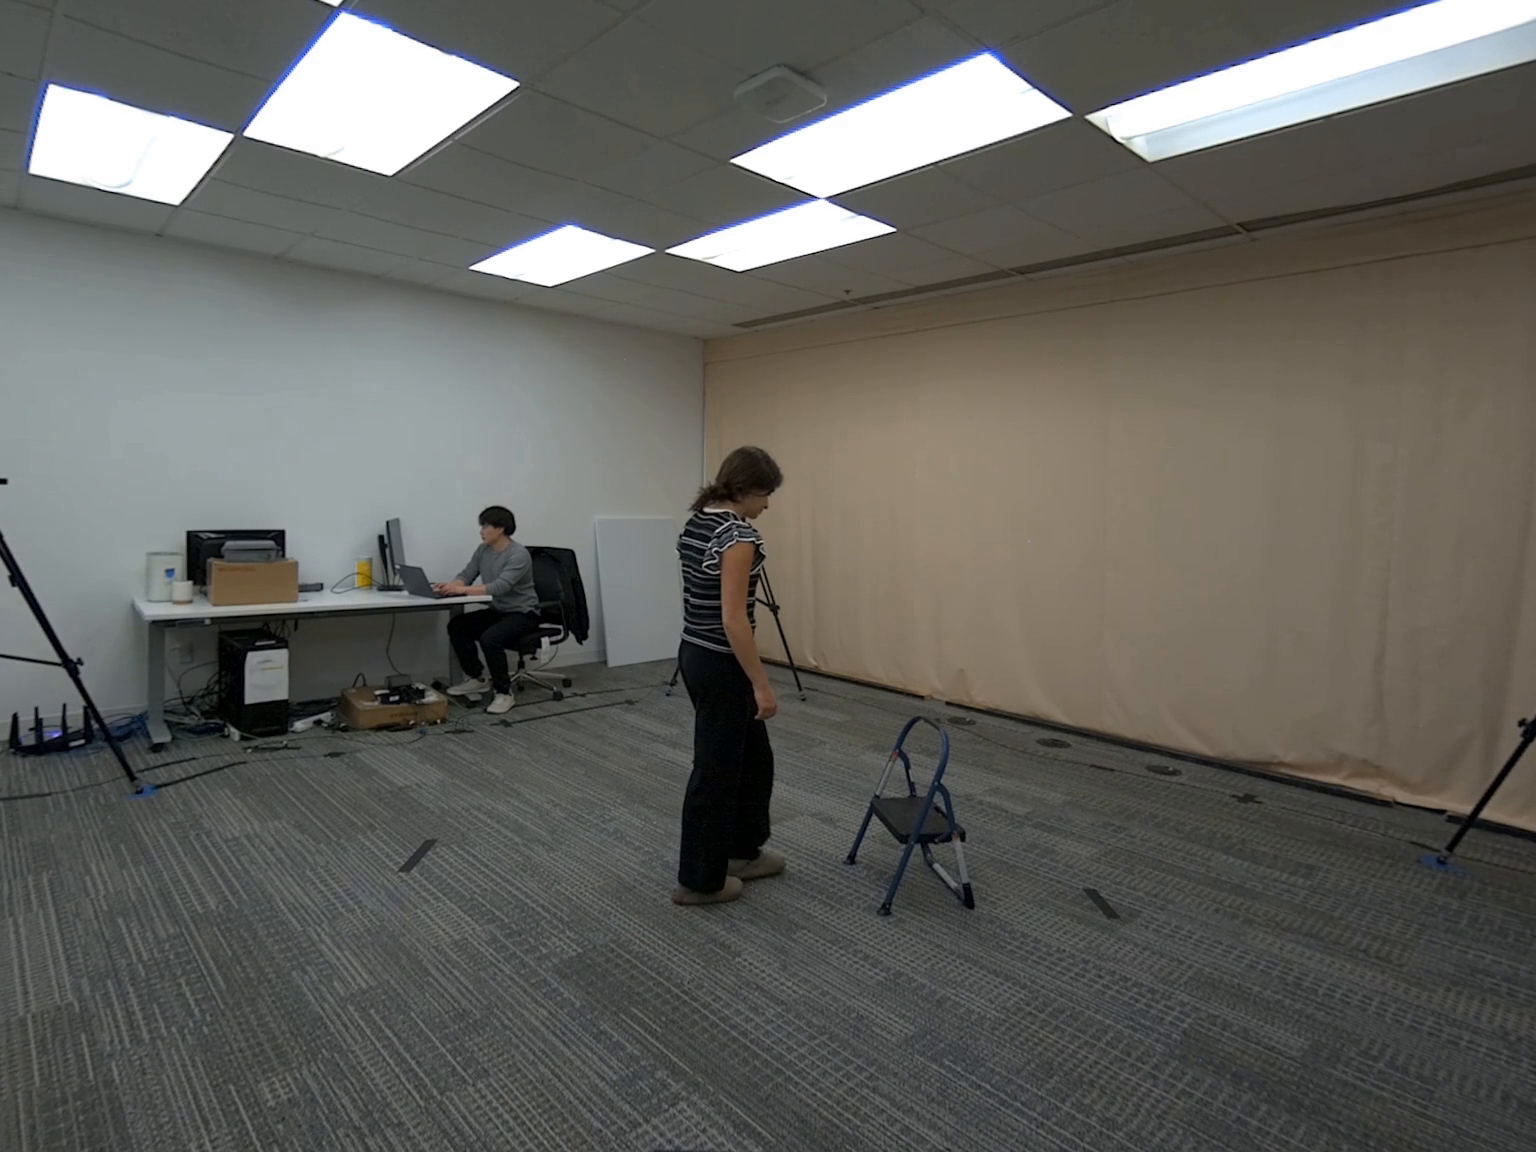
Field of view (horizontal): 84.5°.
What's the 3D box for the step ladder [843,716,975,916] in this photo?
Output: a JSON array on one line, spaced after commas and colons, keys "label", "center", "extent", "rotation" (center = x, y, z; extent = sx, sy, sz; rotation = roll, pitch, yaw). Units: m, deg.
[{"label": "step ladder", "center": [0.506, 0.829, 3.053], "extent": [0.346, 0.604, 0.435], "rotation": [0, 4, -11]}]
